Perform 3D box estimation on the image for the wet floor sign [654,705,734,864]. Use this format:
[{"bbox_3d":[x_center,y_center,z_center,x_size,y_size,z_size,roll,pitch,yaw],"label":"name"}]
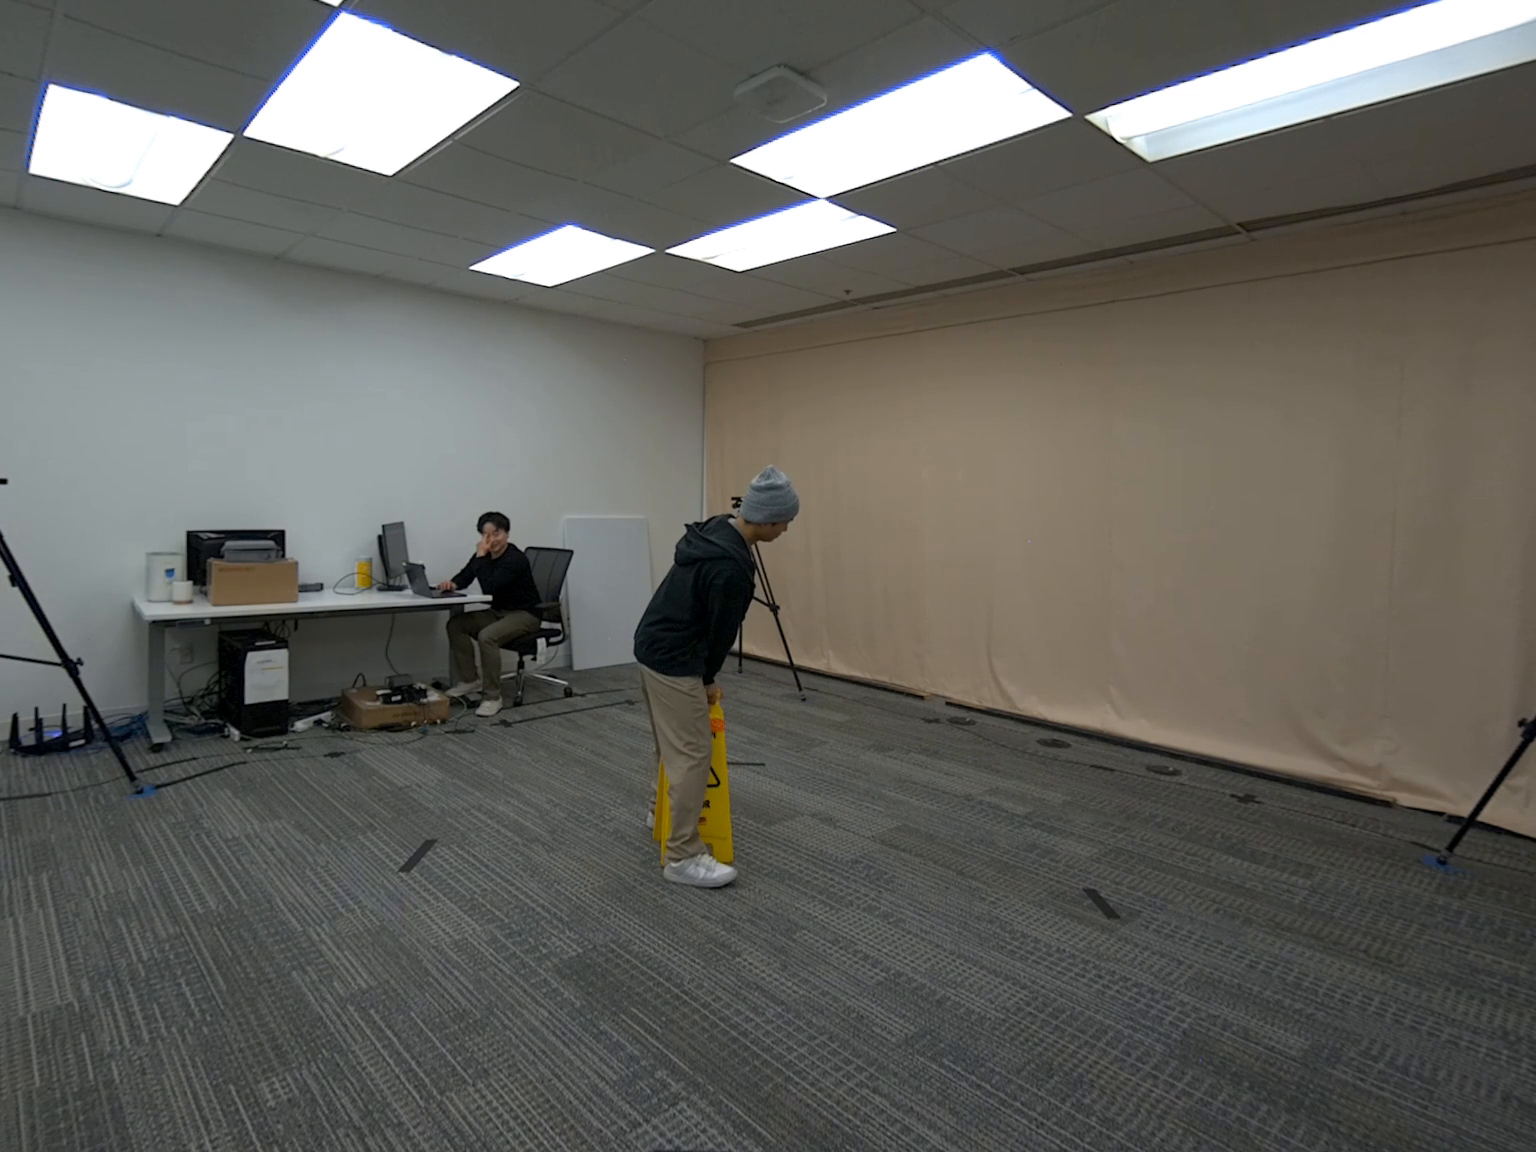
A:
[{"bbox_3d":[-0.297,0.764,3.311,0.279,0.645,0.293,2,2,-13],"label":"wet floor sign"}]
